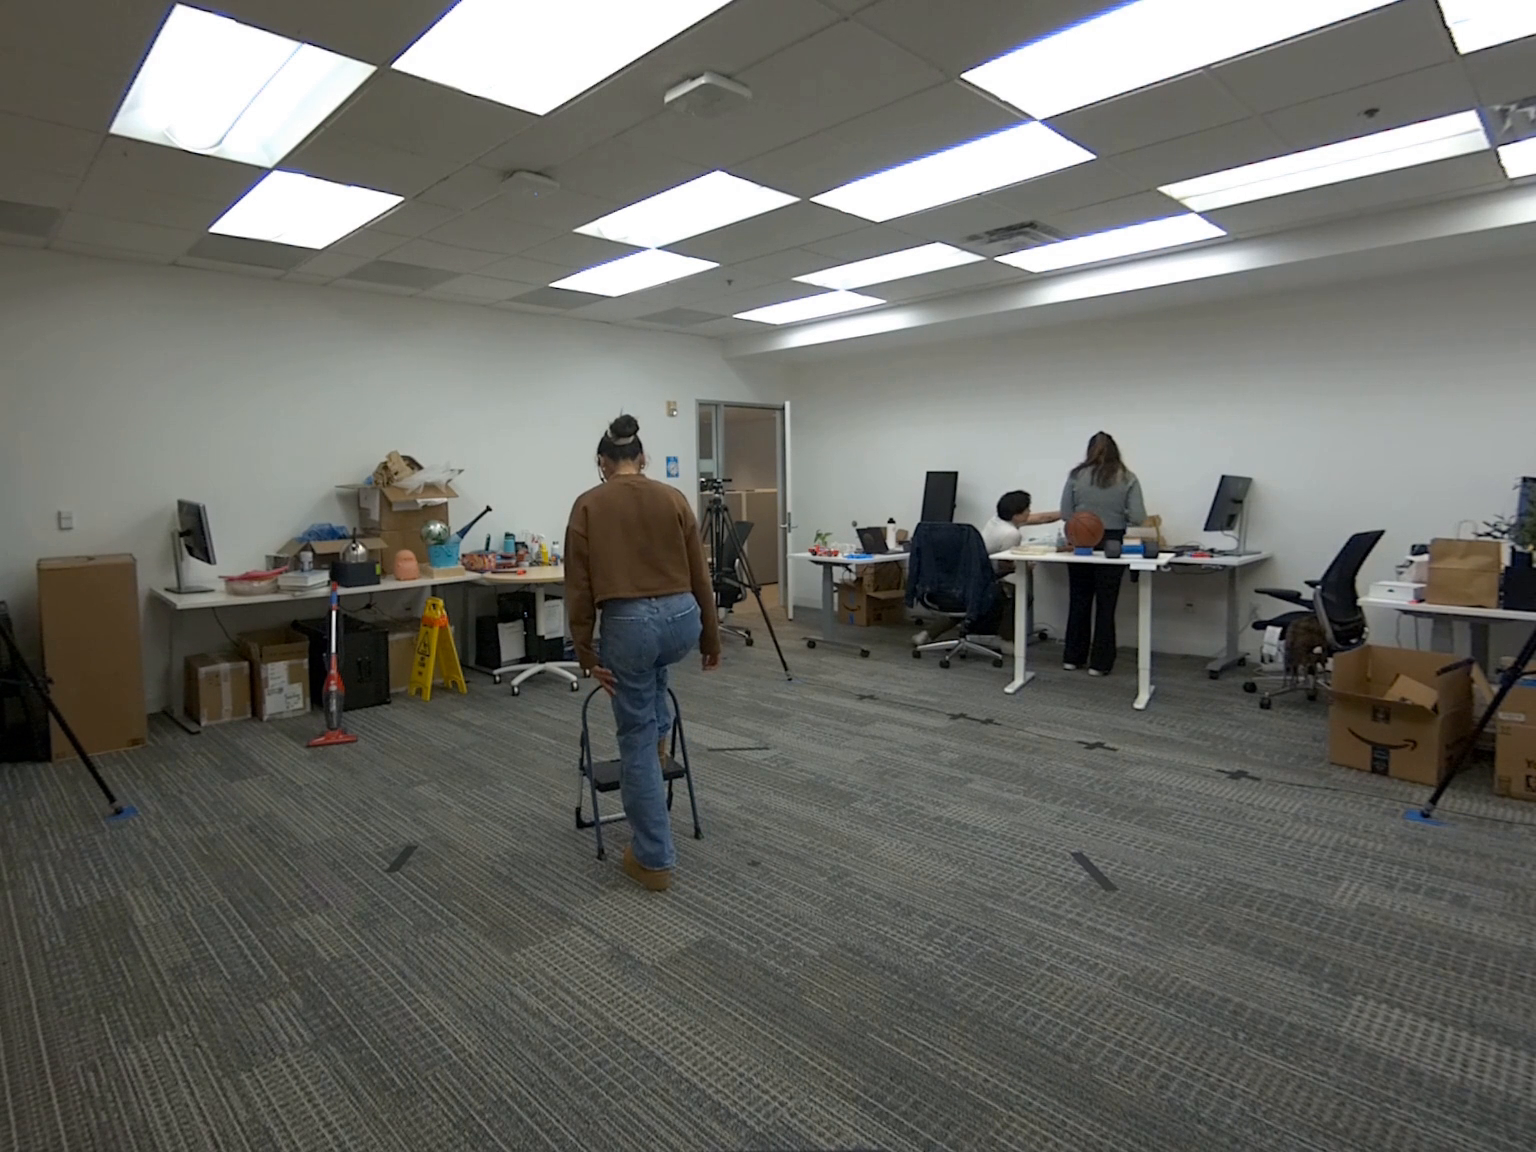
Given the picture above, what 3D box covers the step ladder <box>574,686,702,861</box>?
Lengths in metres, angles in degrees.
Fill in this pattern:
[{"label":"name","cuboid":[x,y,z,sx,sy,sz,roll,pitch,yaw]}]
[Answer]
[{"label":"step ladder","cuboid":[-0.523,0.719,3.382,0.421,0.604,0.358,-3,4,-28]}]
